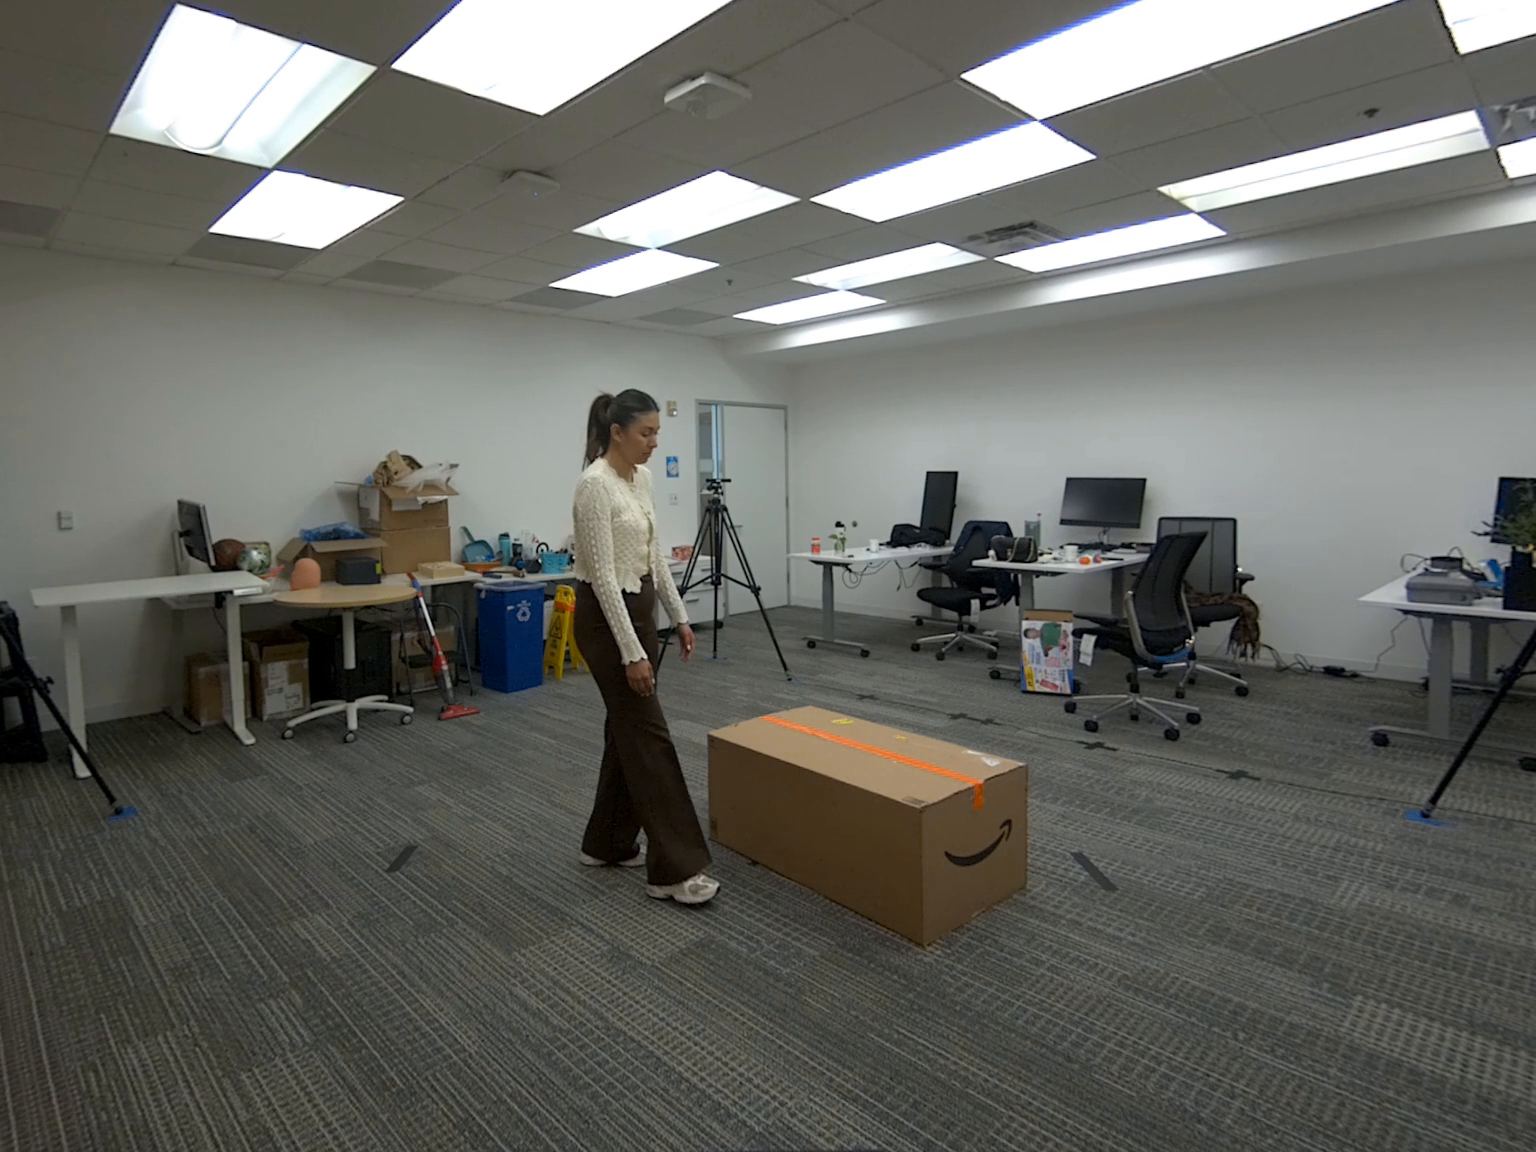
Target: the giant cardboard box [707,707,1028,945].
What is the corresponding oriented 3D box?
[{"bbox_3d":[0.323,0.825,3.090,0.562,0.424,1.057,-5,7,-41],"label":"giant cardboard box"}]
